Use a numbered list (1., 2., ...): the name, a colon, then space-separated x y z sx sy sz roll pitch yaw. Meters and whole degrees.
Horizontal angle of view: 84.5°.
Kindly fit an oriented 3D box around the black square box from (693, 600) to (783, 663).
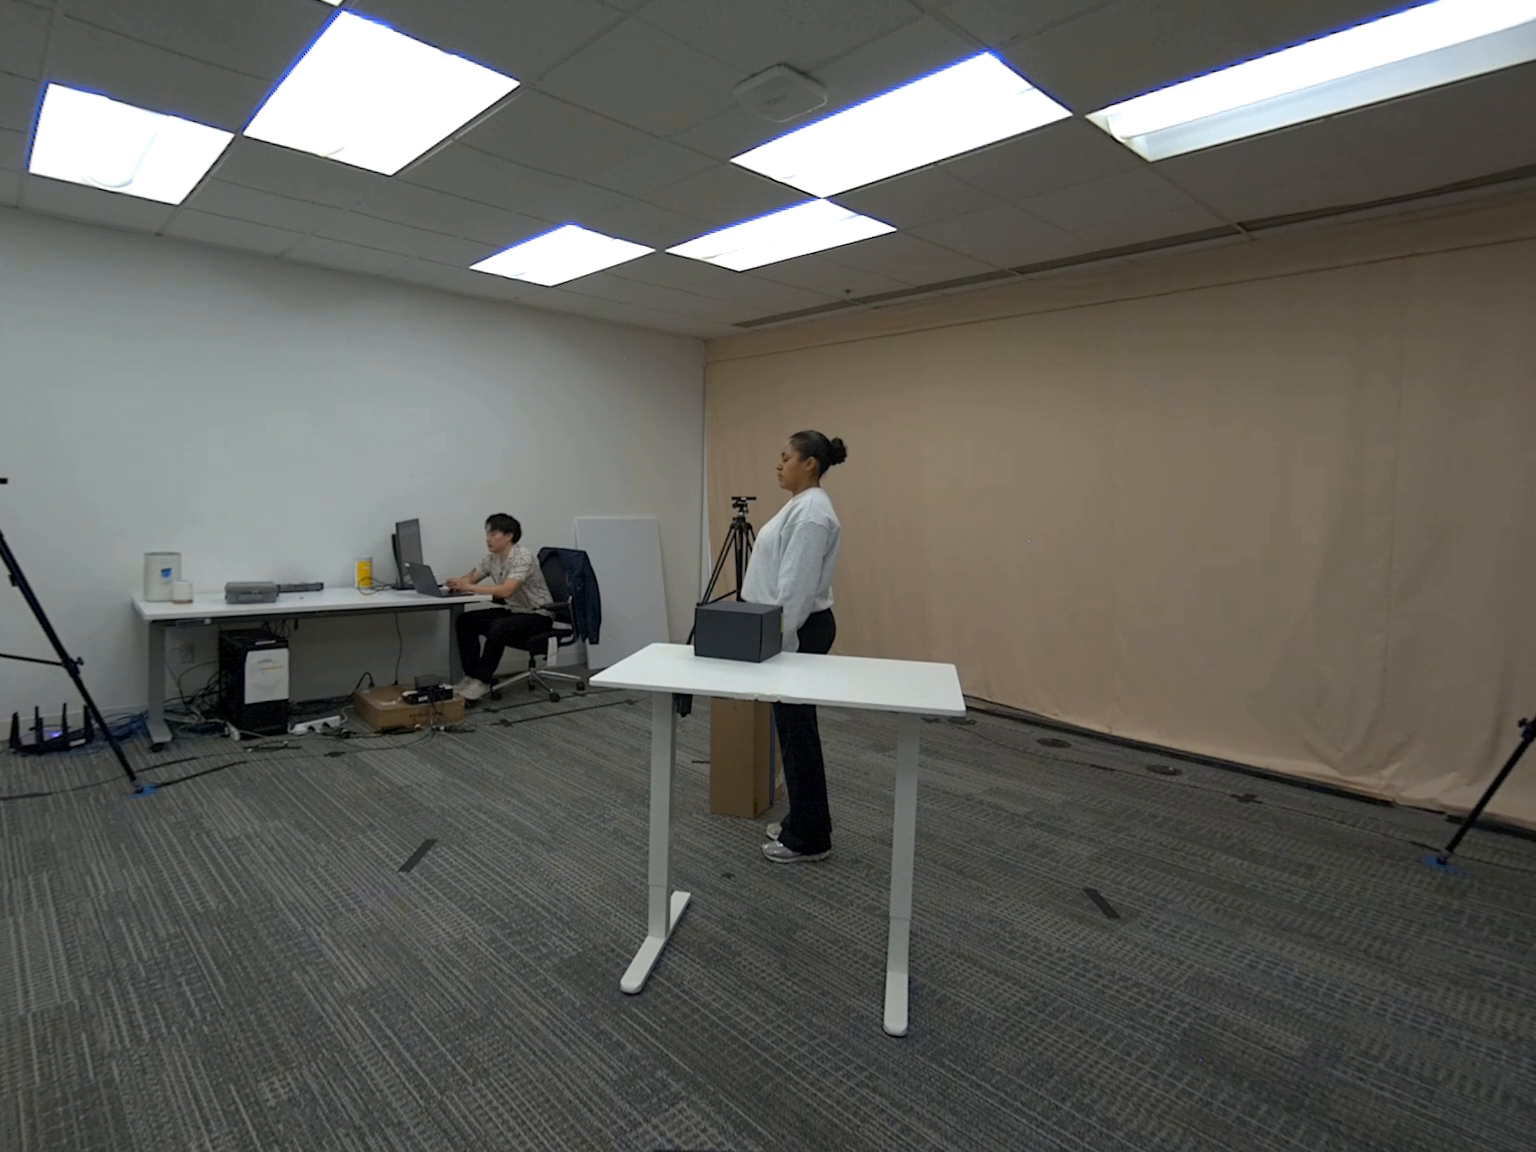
1. black square box: -0.099 0.177 2.729 0.232 0.155 0.214 3 5 20
